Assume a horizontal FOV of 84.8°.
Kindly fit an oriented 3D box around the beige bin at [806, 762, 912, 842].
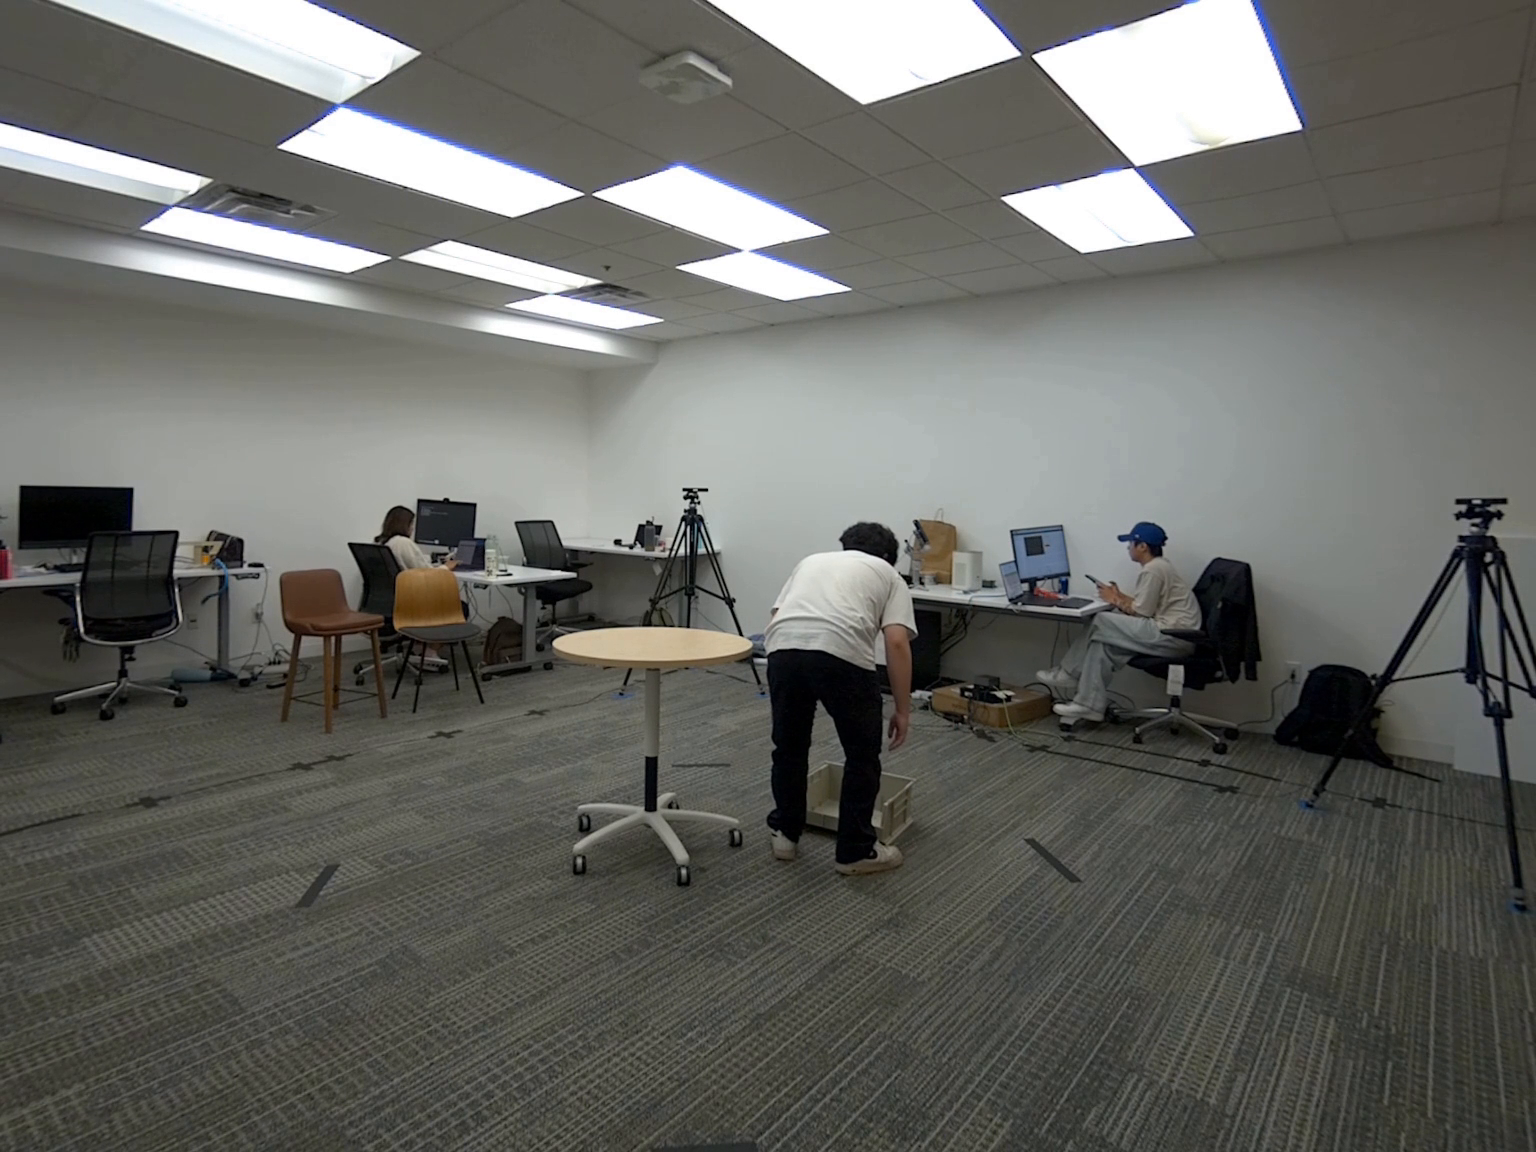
[{"bbox_3d":[0.344,0.945,3.560,0.435,0.188,0.367,3,5,30],"label":"beige bin"}]
